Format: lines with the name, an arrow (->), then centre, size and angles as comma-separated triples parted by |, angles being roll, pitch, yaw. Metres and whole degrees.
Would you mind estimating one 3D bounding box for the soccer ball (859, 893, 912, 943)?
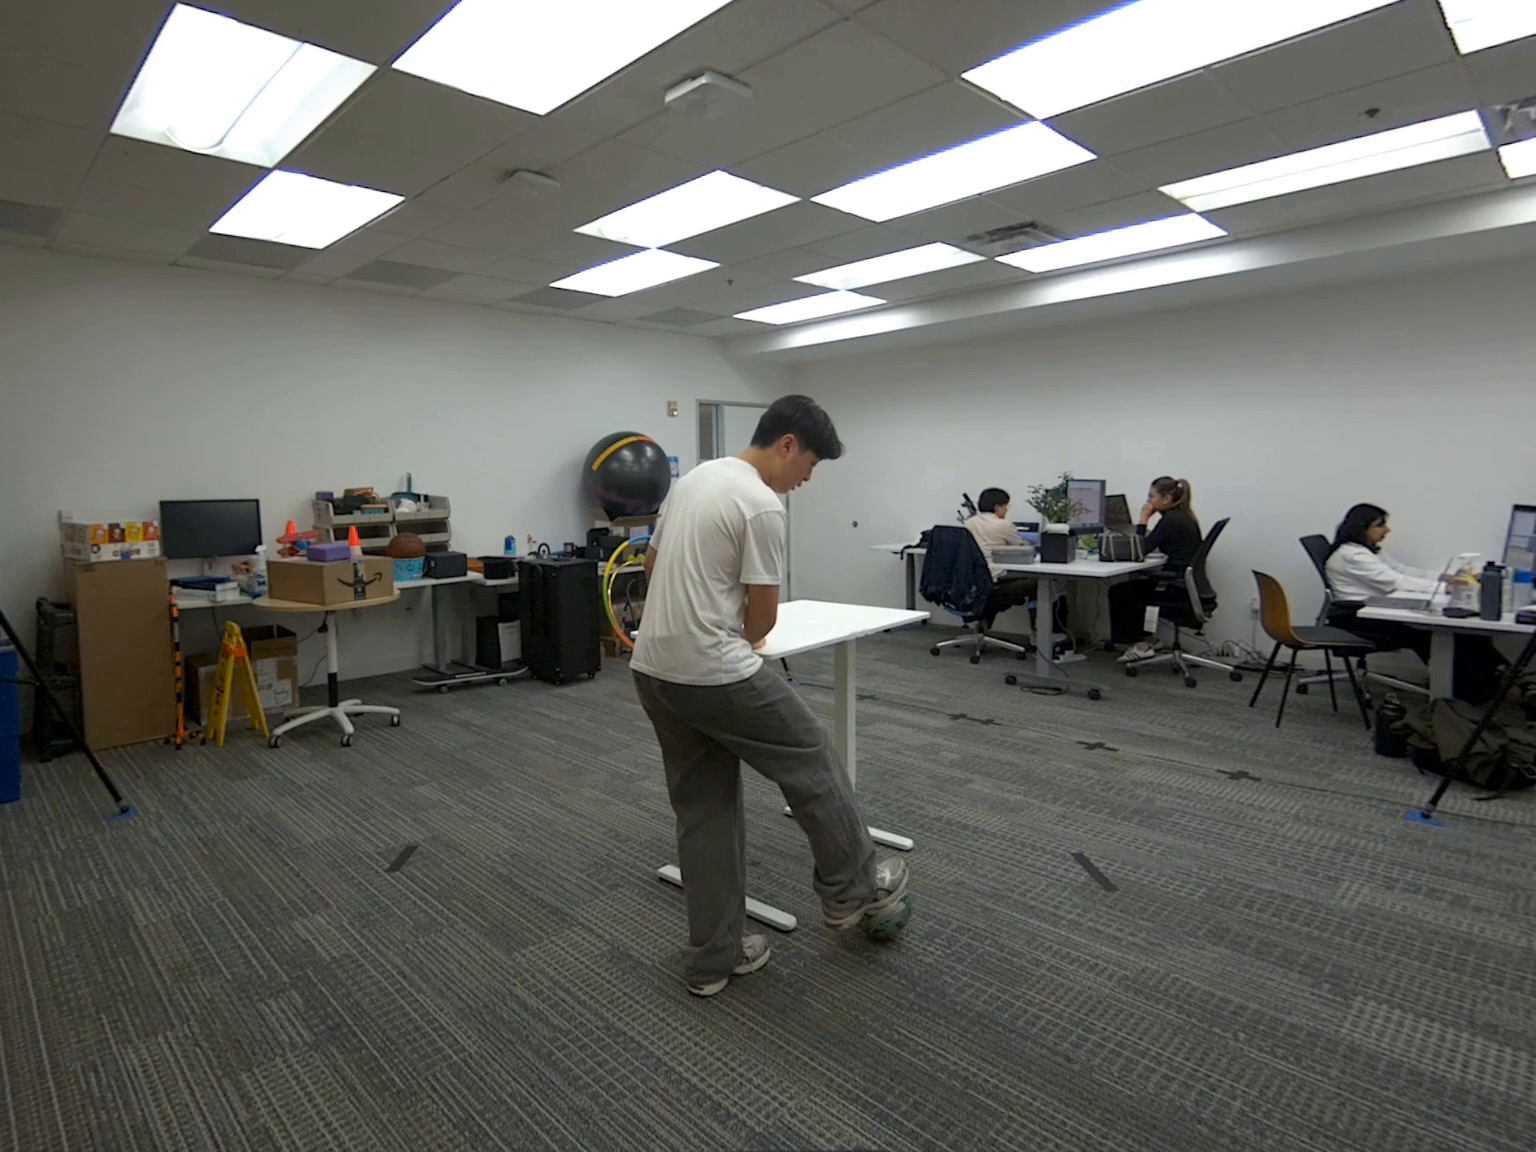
soccer ball -> 0.344, 1.005, 2.609 | 0.187, 0.187, 0.188 | -1, 5, -2
